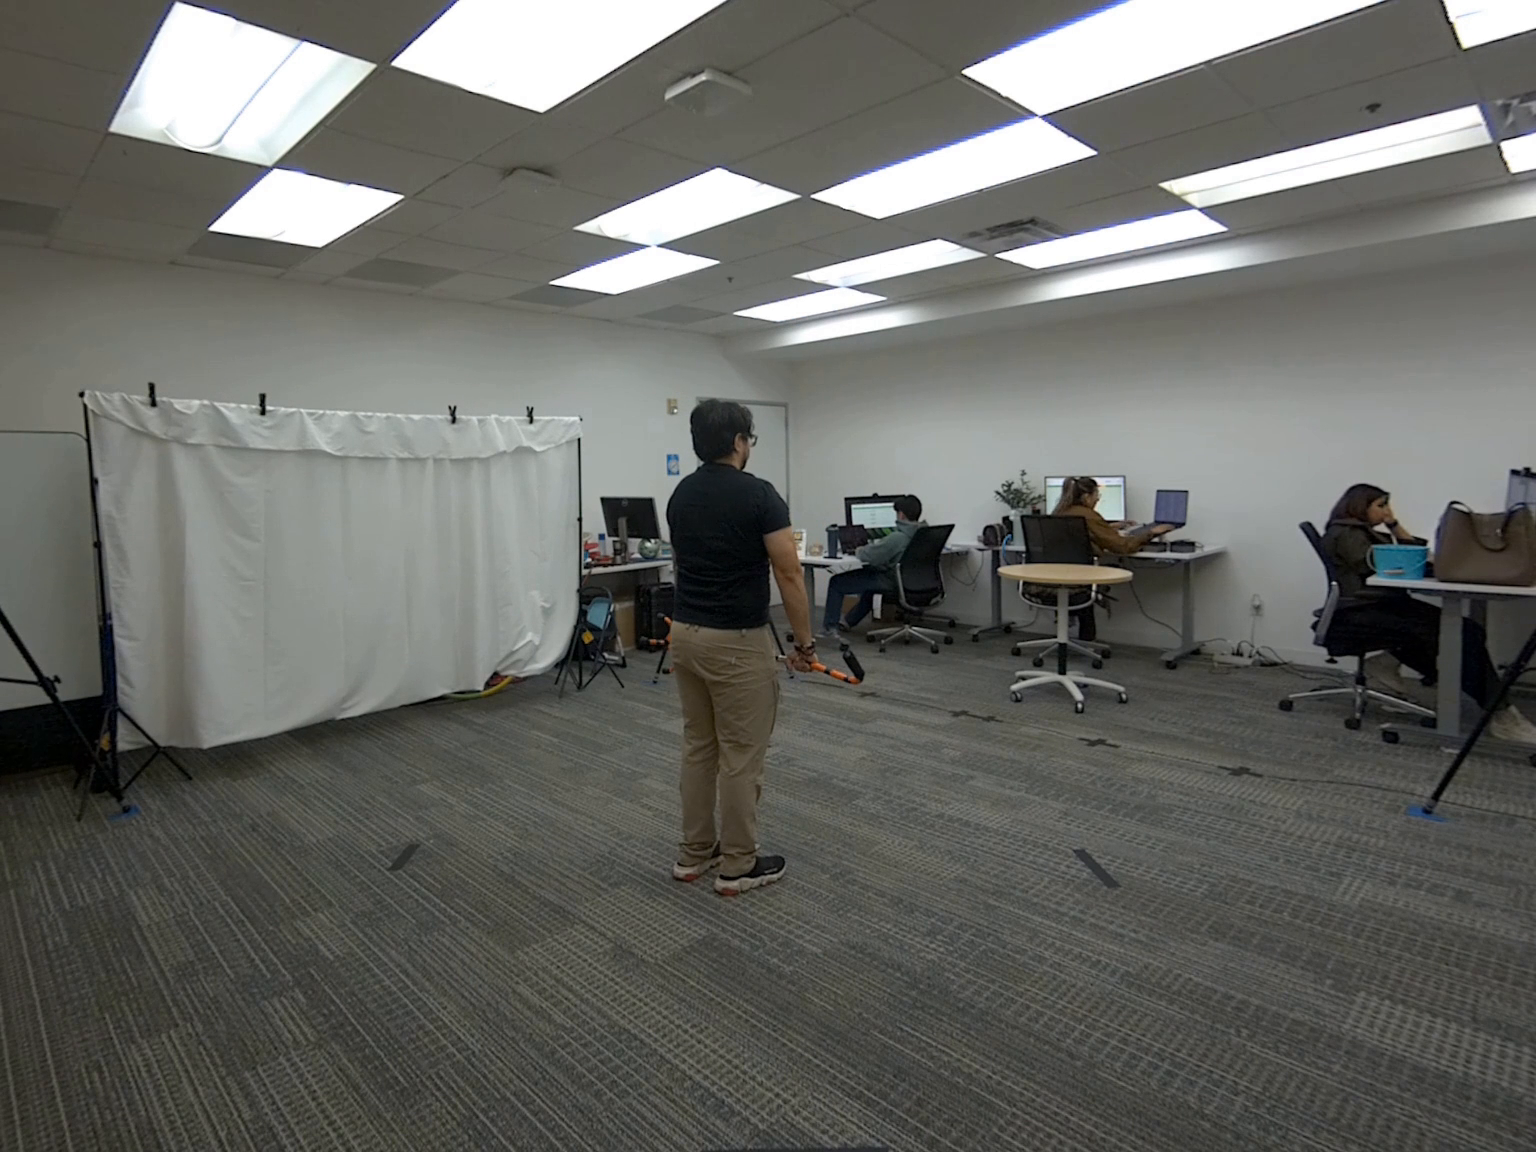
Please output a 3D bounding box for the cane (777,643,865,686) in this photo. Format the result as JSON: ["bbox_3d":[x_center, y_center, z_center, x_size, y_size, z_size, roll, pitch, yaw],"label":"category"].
[{"bbox_3d":[-0.047,0.291,3.046,0.936,0.199,0.152,4,48,41],"label":"cane"}]
